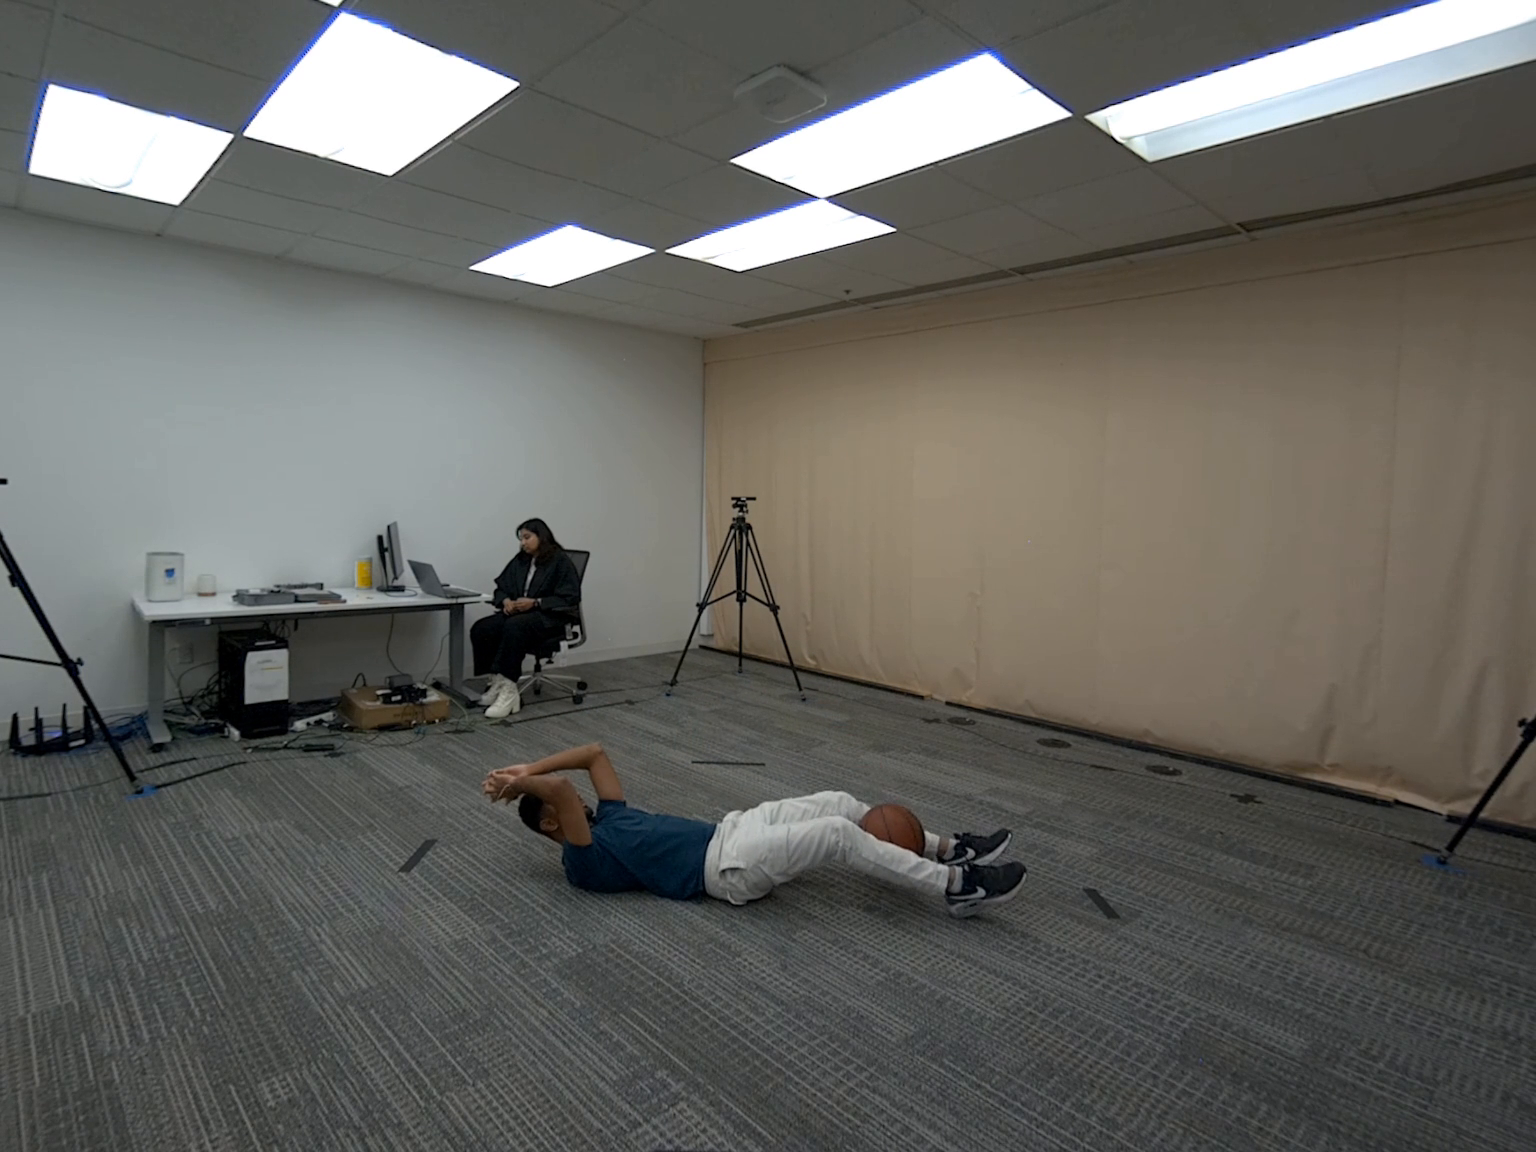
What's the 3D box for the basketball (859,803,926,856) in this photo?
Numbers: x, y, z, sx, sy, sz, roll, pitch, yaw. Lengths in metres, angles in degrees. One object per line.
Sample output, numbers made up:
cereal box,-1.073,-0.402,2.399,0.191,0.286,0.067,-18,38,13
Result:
basketball,0.430,0.918,2.955,0.236,0.235,0.237,1,4,-1
